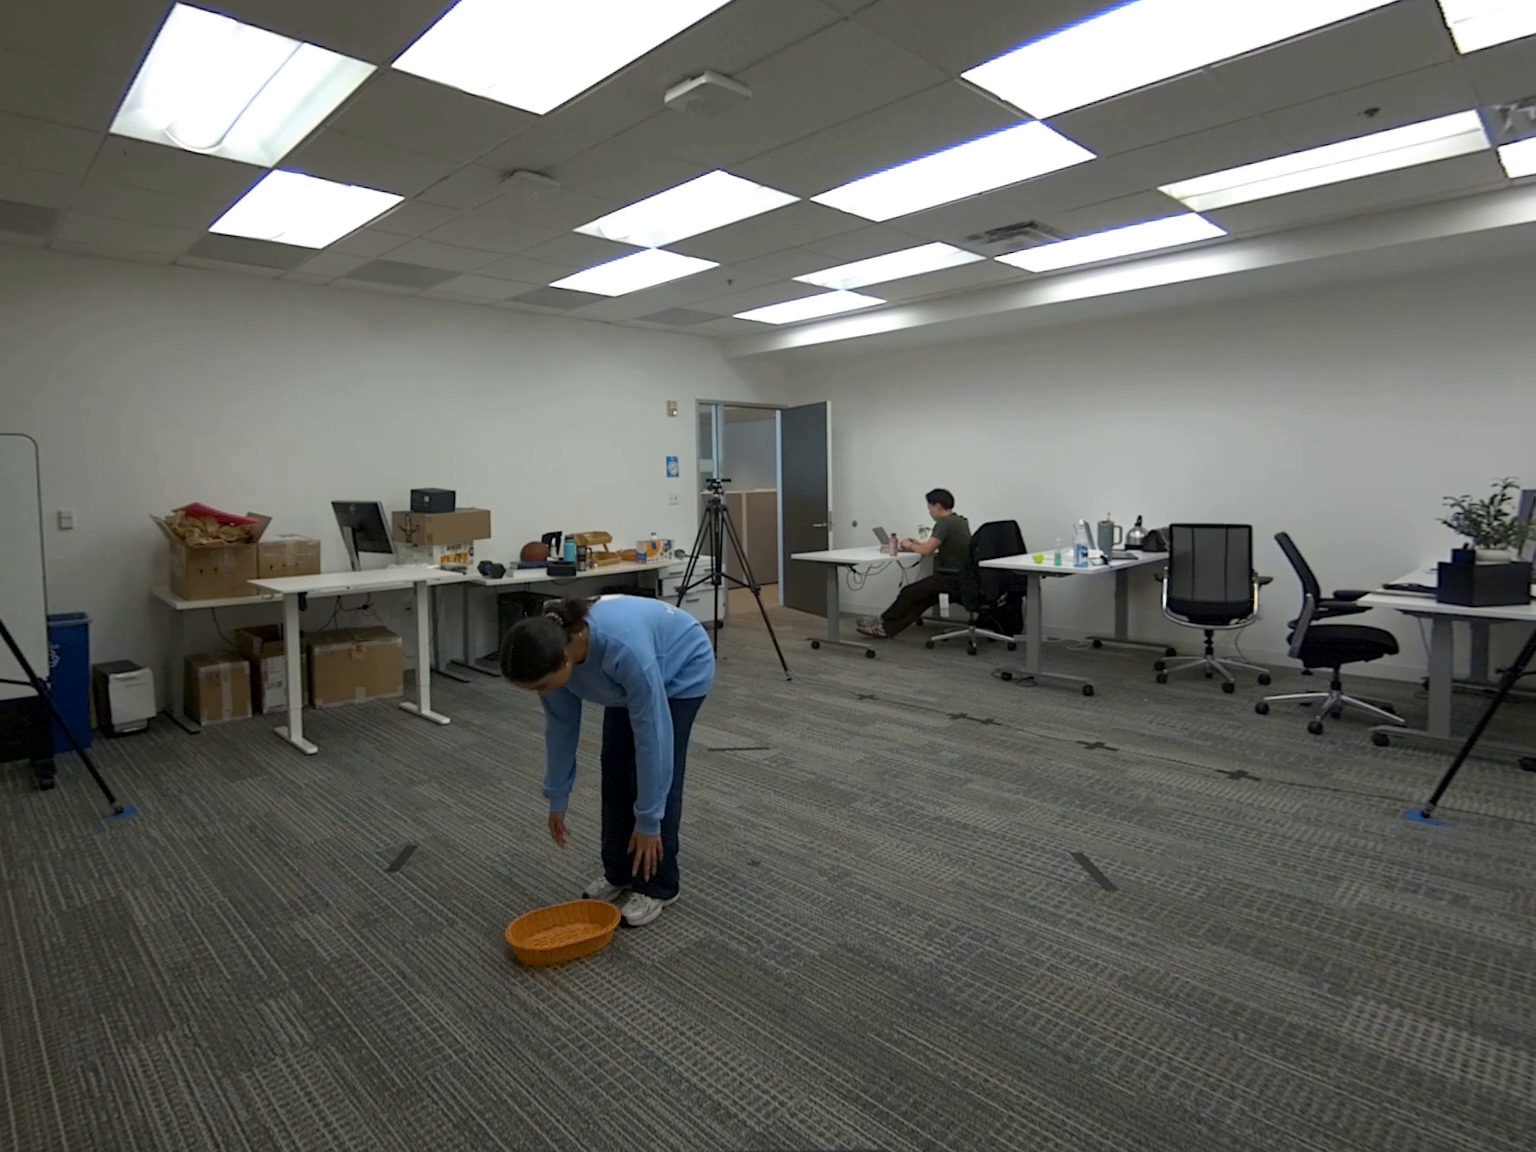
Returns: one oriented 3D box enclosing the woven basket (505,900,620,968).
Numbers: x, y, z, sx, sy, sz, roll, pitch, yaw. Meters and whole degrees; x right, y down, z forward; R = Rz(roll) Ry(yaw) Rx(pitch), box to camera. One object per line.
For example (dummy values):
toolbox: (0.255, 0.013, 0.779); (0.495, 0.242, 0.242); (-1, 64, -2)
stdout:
woven basket: (-0.612, 1.073, 2.584); (0.343, 0.073, 0.258); (-4, 6, -25)
